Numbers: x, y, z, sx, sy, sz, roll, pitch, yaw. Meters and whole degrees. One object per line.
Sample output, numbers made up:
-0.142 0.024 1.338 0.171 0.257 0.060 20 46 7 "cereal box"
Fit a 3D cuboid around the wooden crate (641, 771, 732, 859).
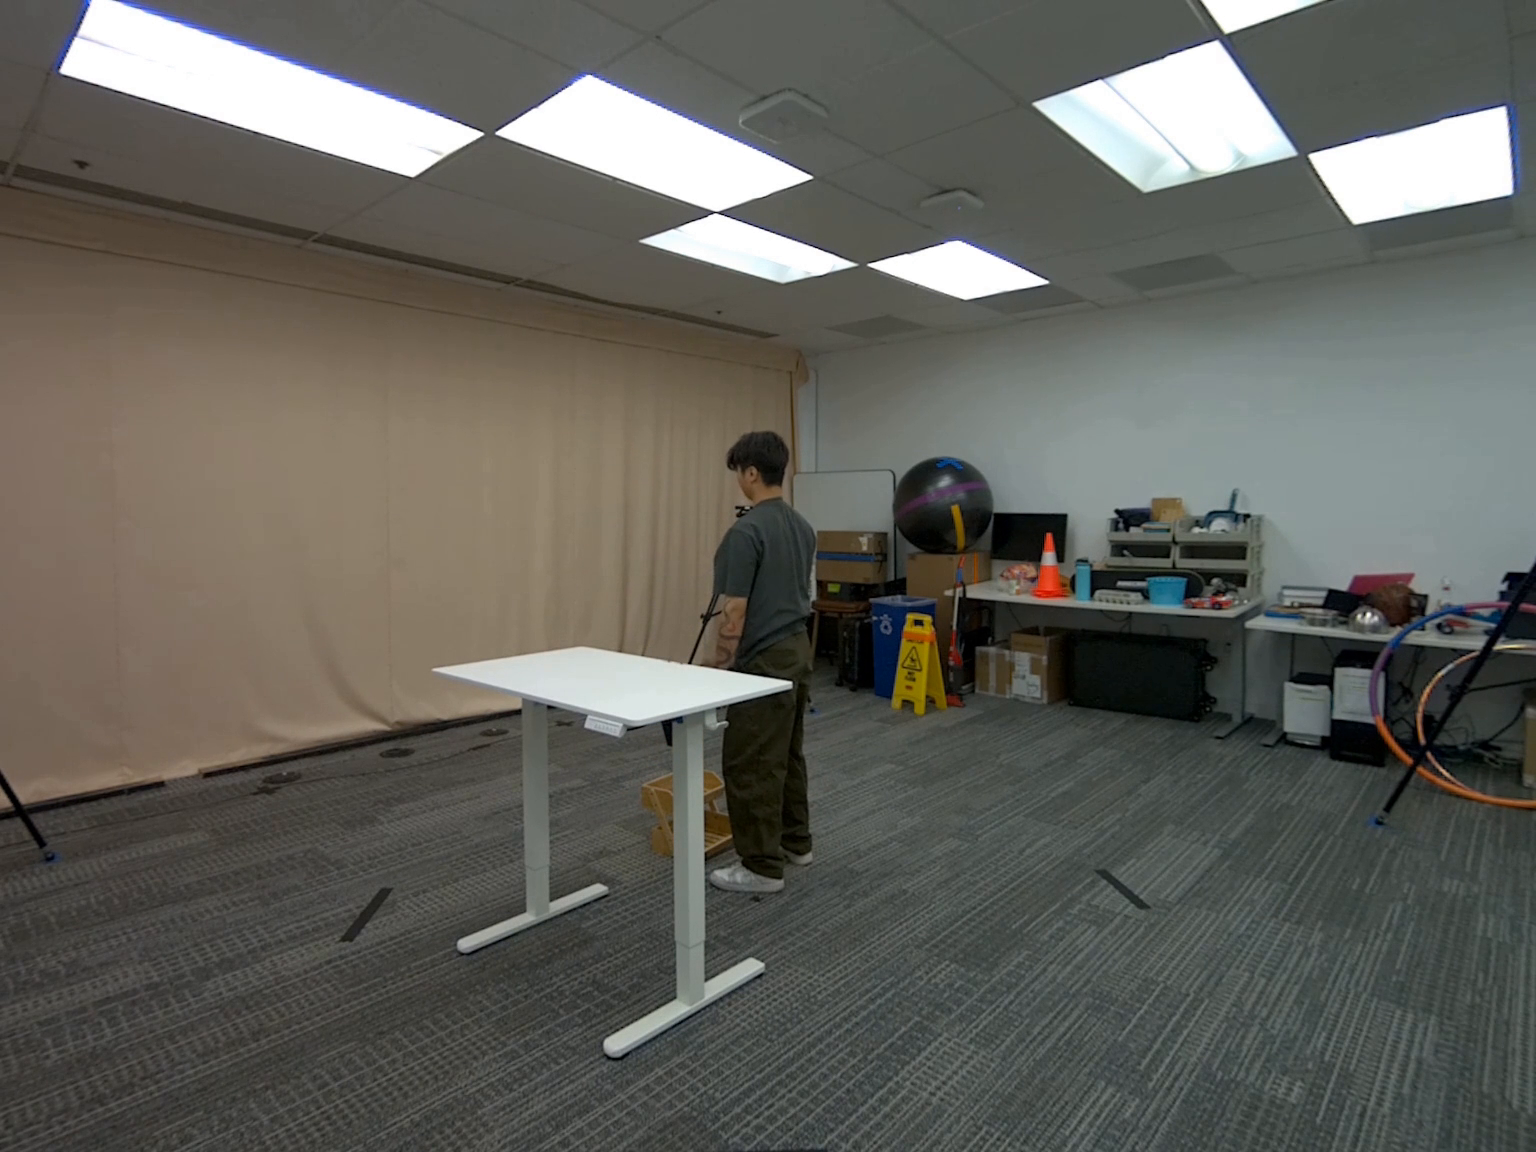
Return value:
-0.300 0.967 3.457 0.311 0.273 0.315 0 3 35 "wooden crate"
